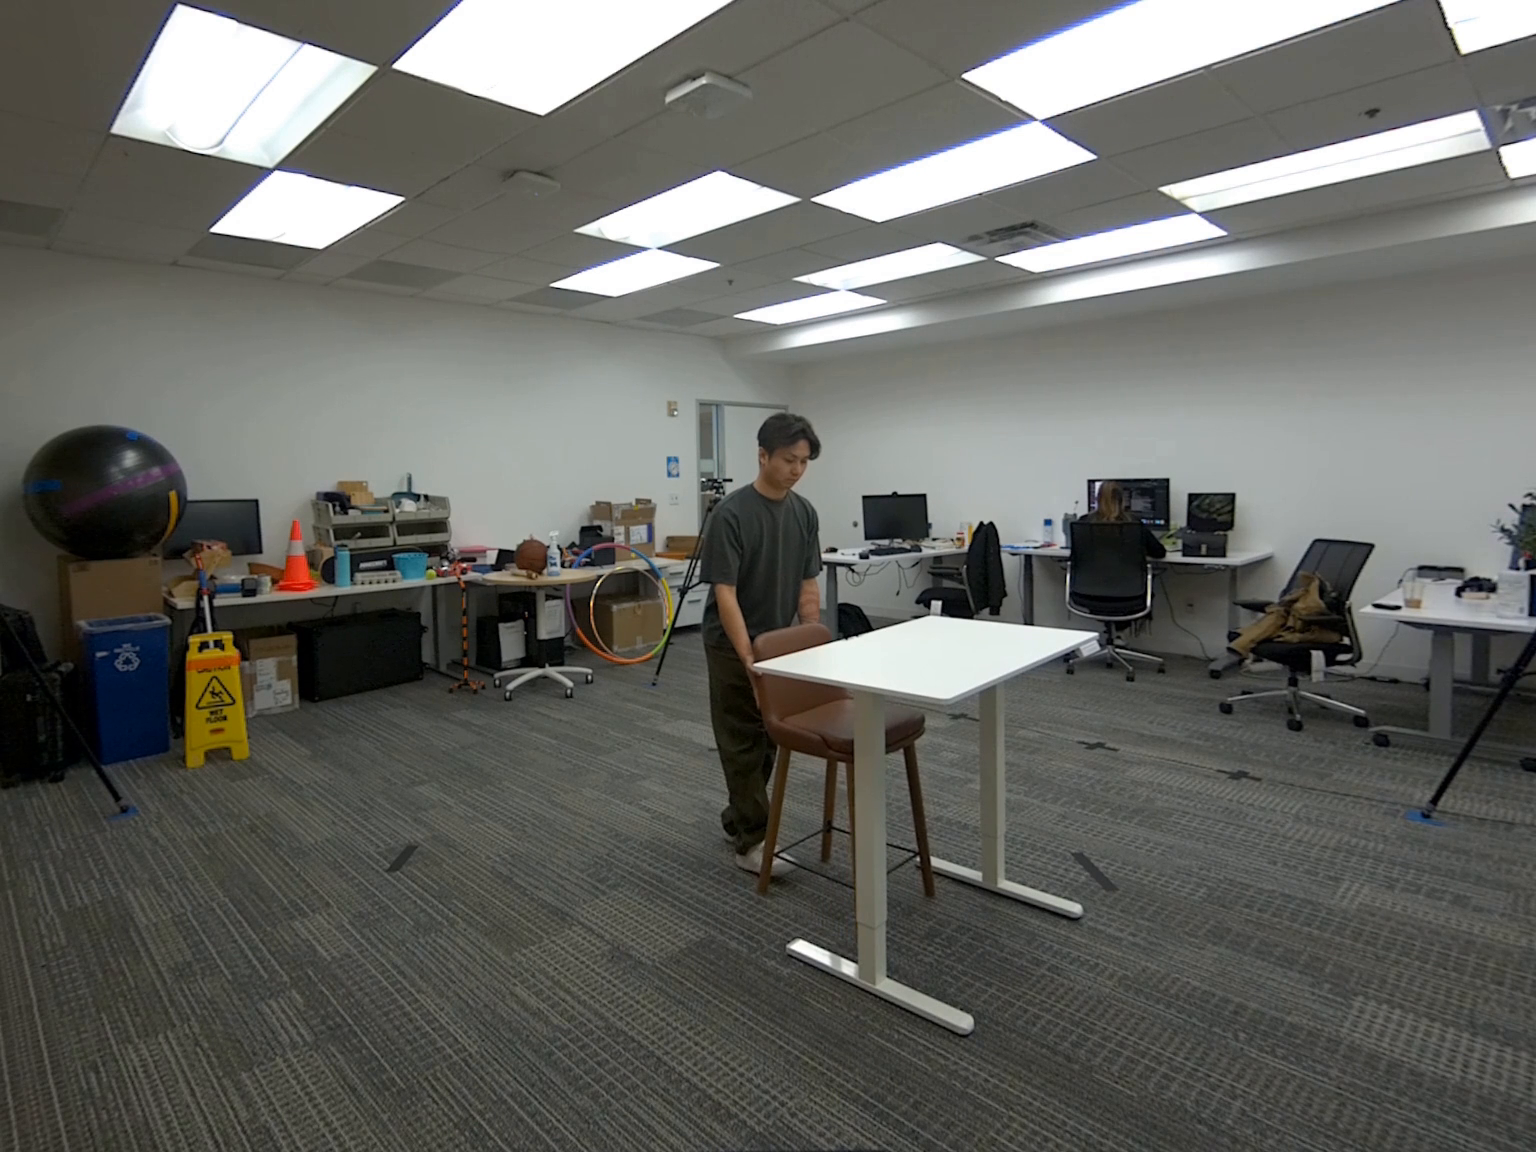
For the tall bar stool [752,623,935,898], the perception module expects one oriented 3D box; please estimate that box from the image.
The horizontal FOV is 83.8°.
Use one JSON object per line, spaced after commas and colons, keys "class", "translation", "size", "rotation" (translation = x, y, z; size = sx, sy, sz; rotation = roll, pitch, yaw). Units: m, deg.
{"class": "tall bar stool", "translation": [0.243, 0.627, 2.833], "size": [0.481, 0.888, 0.444], "rotation": [-1, 3, 44]}
